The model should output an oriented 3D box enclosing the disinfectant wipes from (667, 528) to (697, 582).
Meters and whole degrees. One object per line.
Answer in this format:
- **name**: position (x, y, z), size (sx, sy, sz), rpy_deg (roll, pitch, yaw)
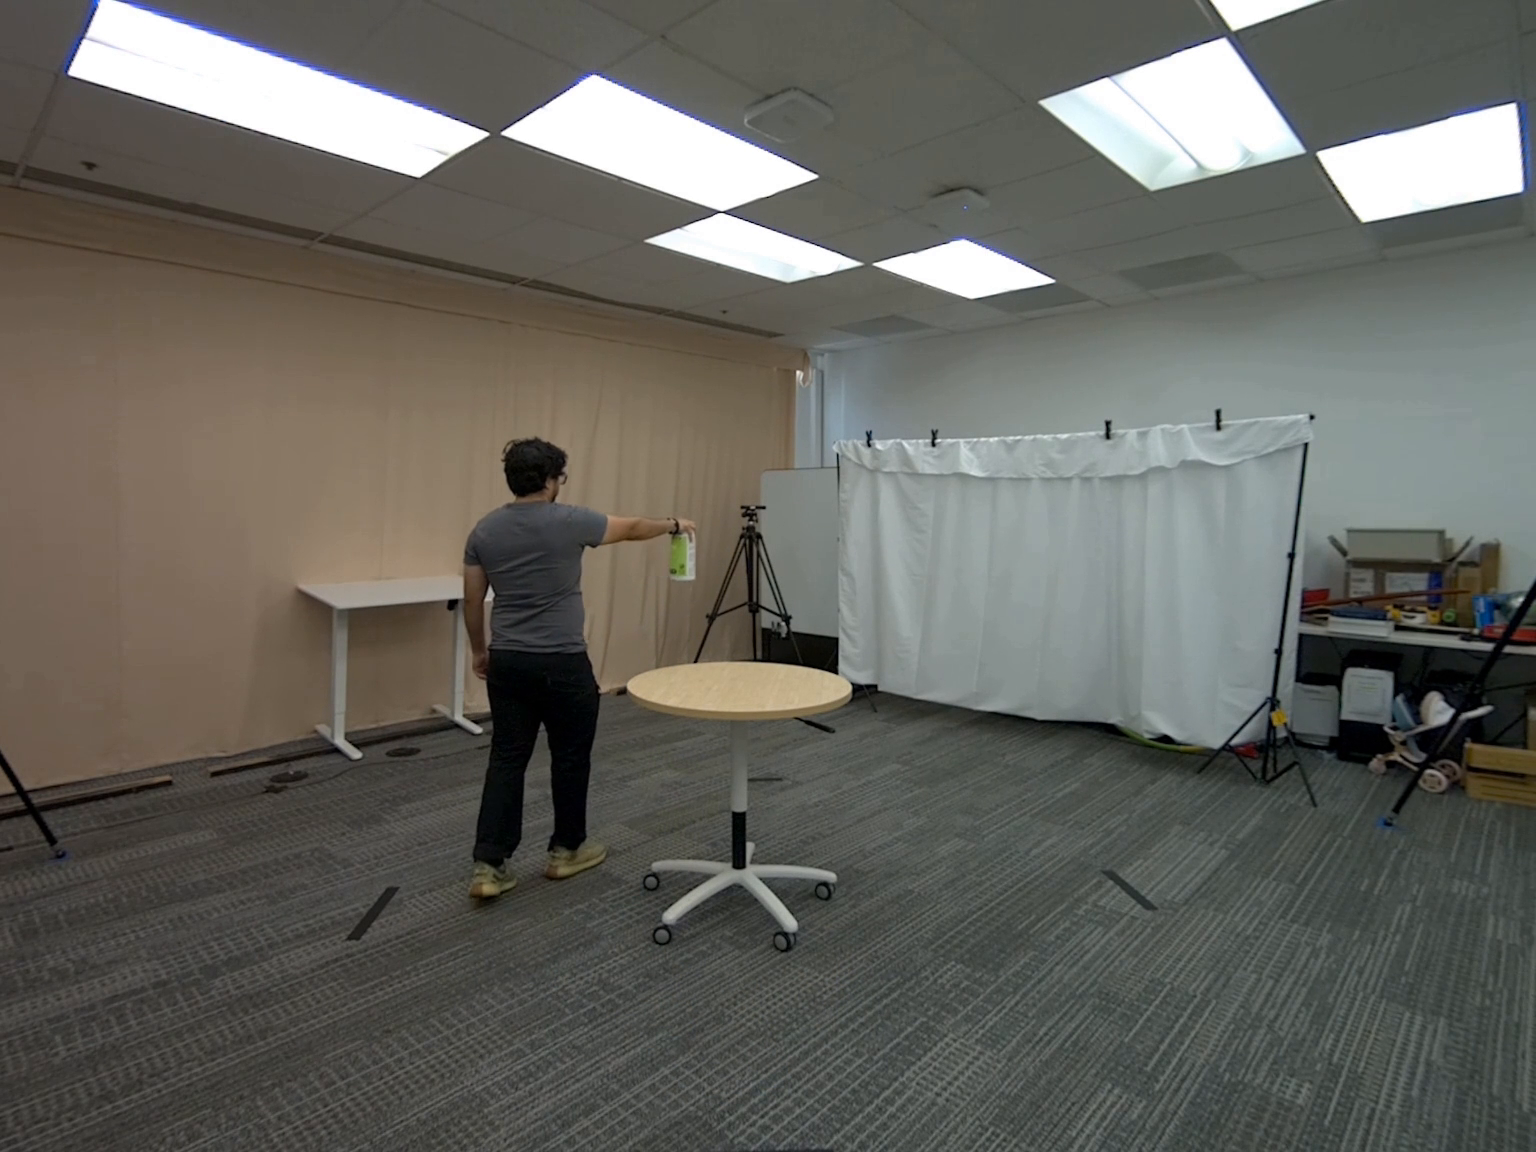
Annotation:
- **disinfectant wipes**: position (-0.360, -0.091, 3.544), size (0.118, 0.217, 0.118), rpy_deg (0, 3, -2)
